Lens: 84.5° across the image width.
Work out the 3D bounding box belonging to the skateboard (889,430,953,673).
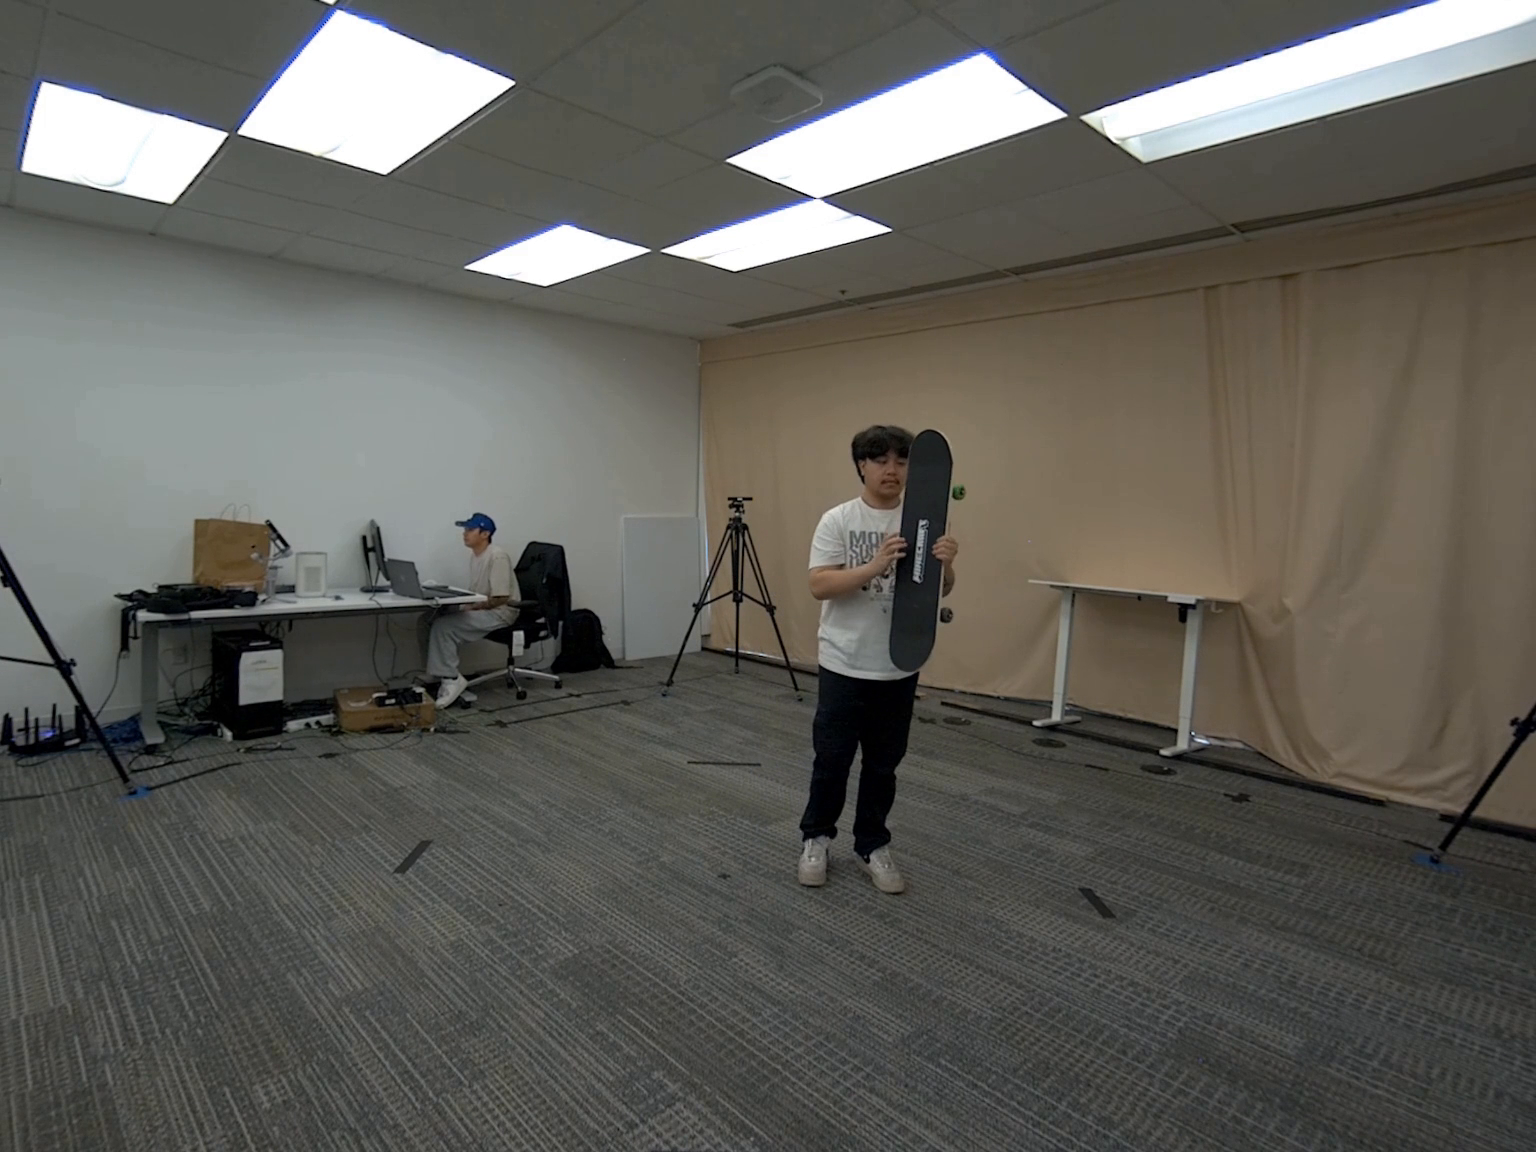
[{"bbox_3d":[0.502,-0.081,2.749,0.107,0.786,0.198,7,-1,-38],"label":"skateboard"}]
